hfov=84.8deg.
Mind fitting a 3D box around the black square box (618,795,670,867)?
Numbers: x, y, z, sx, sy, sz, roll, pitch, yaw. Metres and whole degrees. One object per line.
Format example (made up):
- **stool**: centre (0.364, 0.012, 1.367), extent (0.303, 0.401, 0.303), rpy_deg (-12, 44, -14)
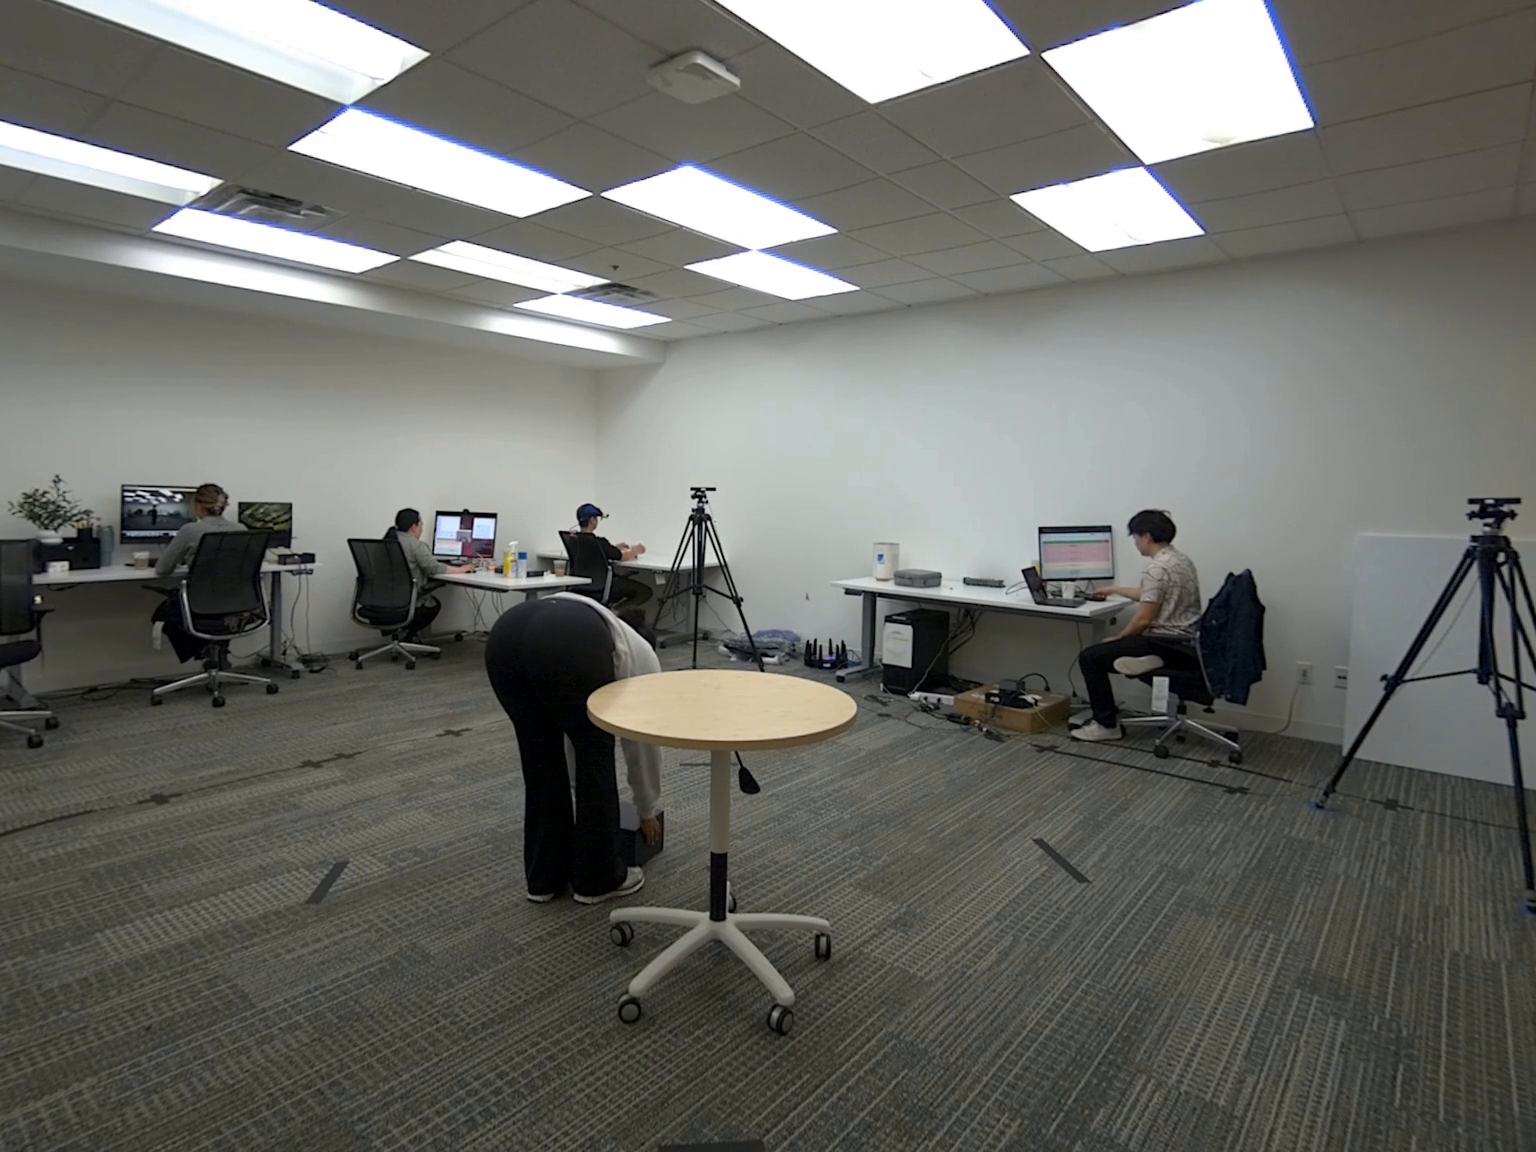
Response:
- **black square box**: centre (-0.549, 0.969, 3.194), extent (0.222, 0.155, 0.223), rpy_deg (3, 4, 22)
